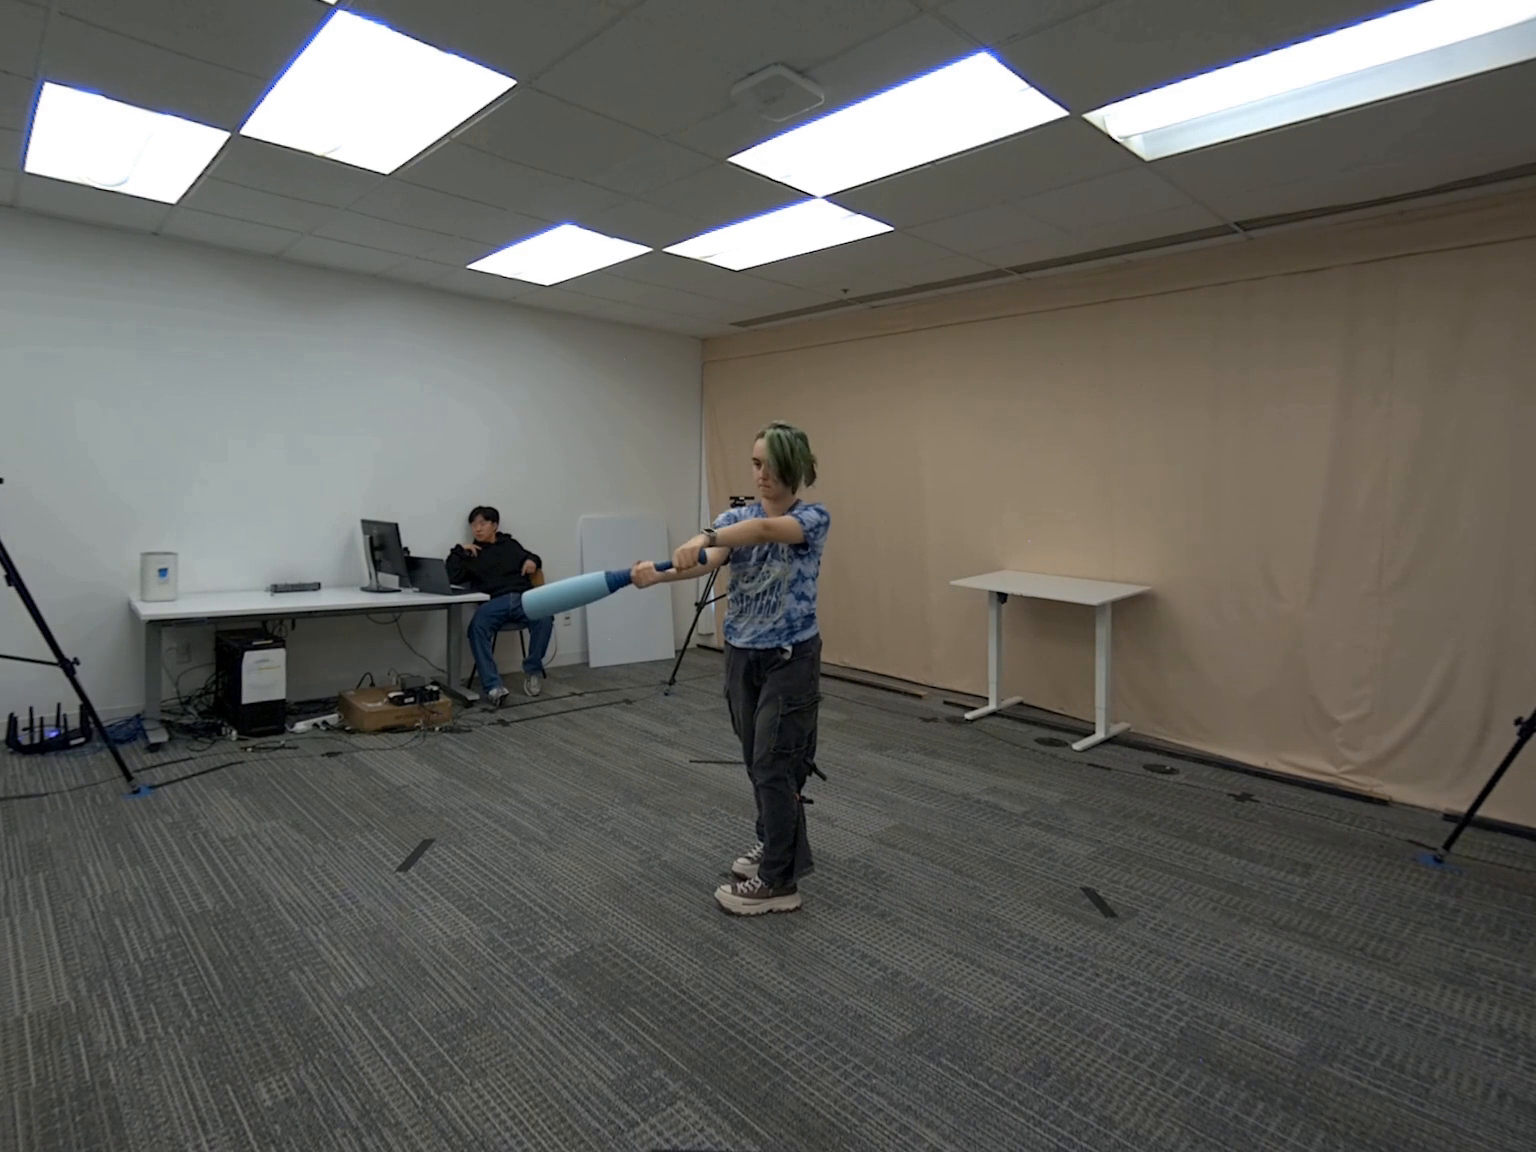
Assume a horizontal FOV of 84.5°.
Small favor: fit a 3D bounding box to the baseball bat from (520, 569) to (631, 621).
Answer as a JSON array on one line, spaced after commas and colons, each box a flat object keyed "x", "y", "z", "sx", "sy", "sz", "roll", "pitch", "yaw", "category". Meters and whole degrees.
[{"x": -0.443, "y": 0.017, "z": 2.410, "sx": 0.544, "sy": 0.089, "sz": 0.089, "roll": -15, "pitch": 4, "yaw": 2, "category": "baseball bat"}]
